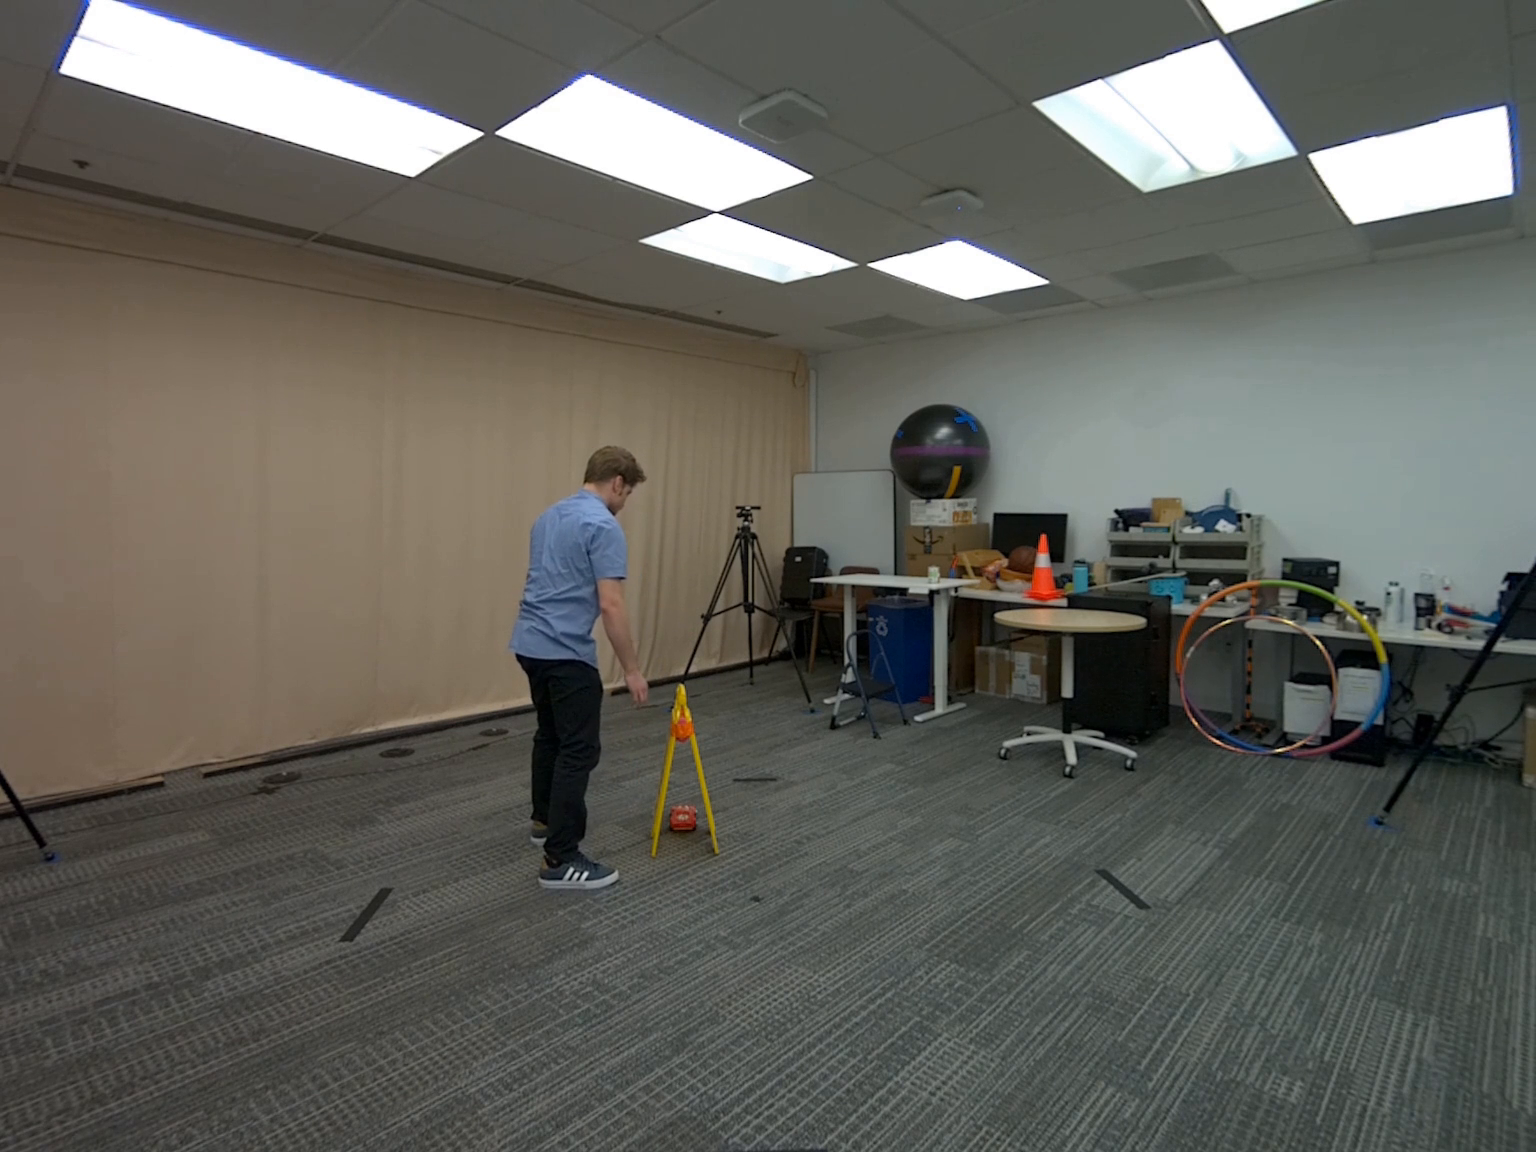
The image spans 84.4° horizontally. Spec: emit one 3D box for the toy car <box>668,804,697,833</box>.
[{"bbox_3d":[-0.379,1.058,3.681,0.130,0.083,0.254,2,-5,-3],"label":"toy car"}]
